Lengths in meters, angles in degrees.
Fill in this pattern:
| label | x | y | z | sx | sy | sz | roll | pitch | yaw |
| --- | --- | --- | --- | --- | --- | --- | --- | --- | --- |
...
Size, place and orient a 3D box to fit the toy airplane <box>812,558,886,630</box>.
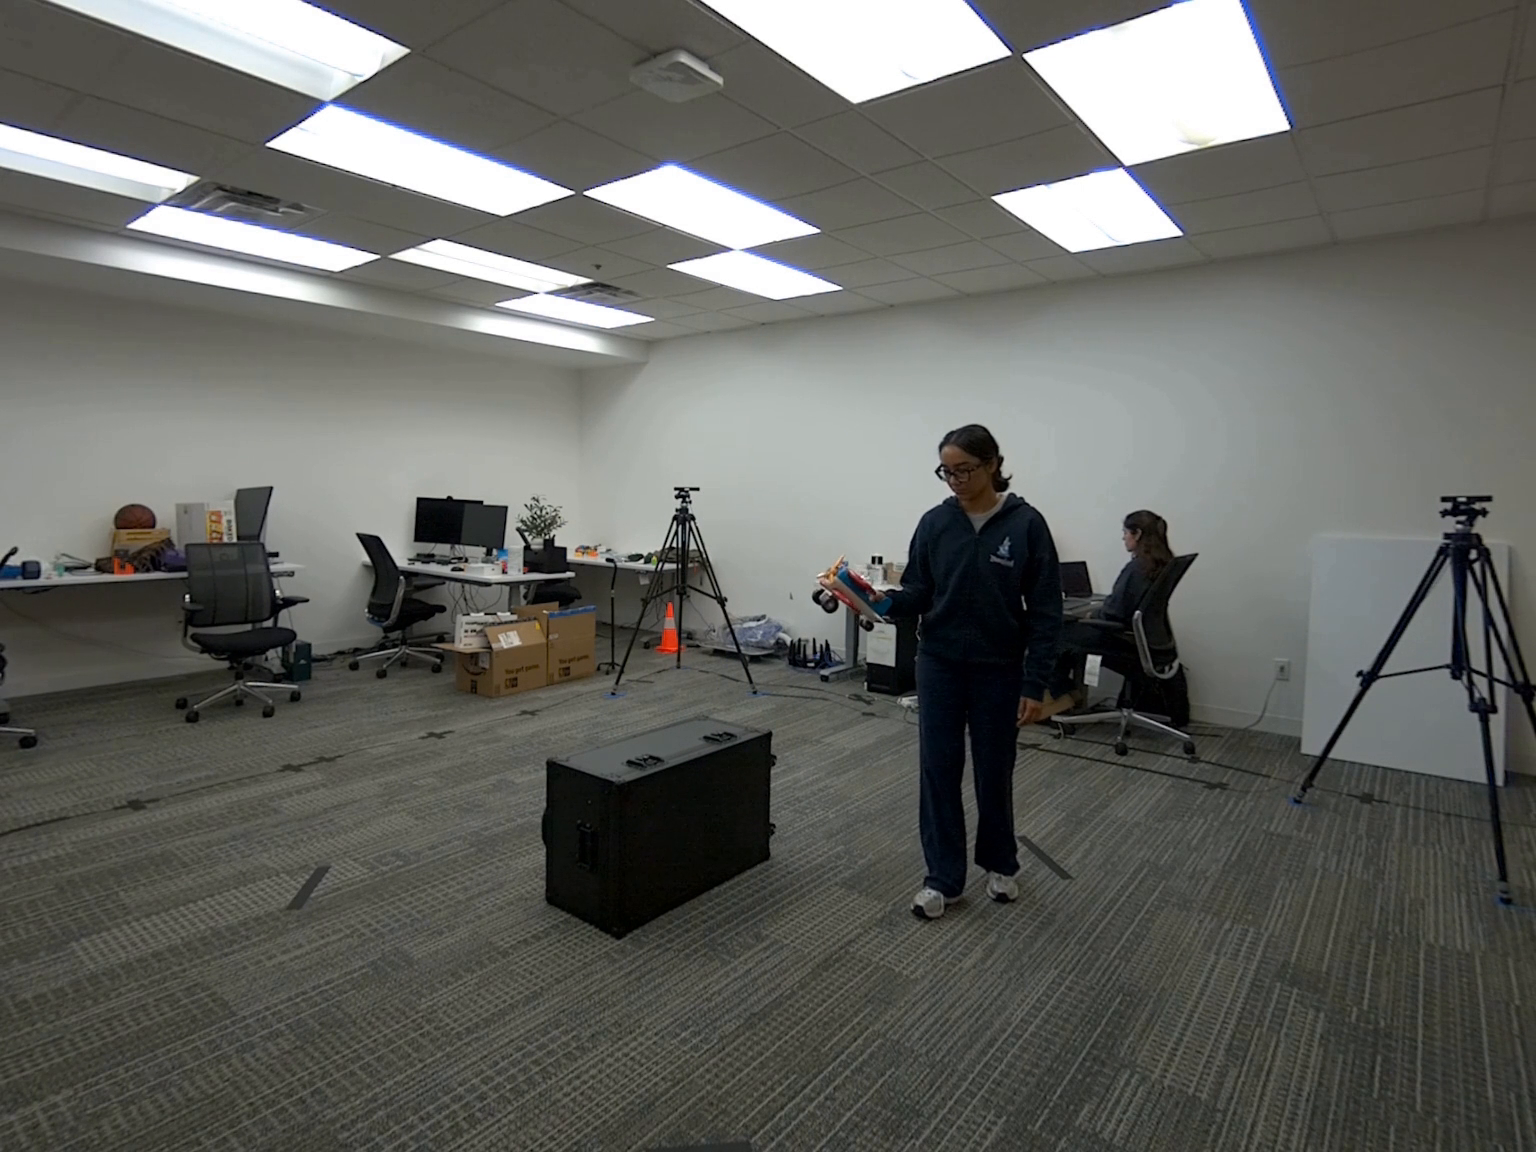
| label | x | y | z | sx | sy | sz | roll | pitch | yaw |
| --- | --- | --- | --- | --- | --- | --- | --- | --- | --- |
| toy airplane | 0.277 | 0.064 | 2.780 | 0.249 | 0.156 | 0.262 | 23 | 6 | -46 |
